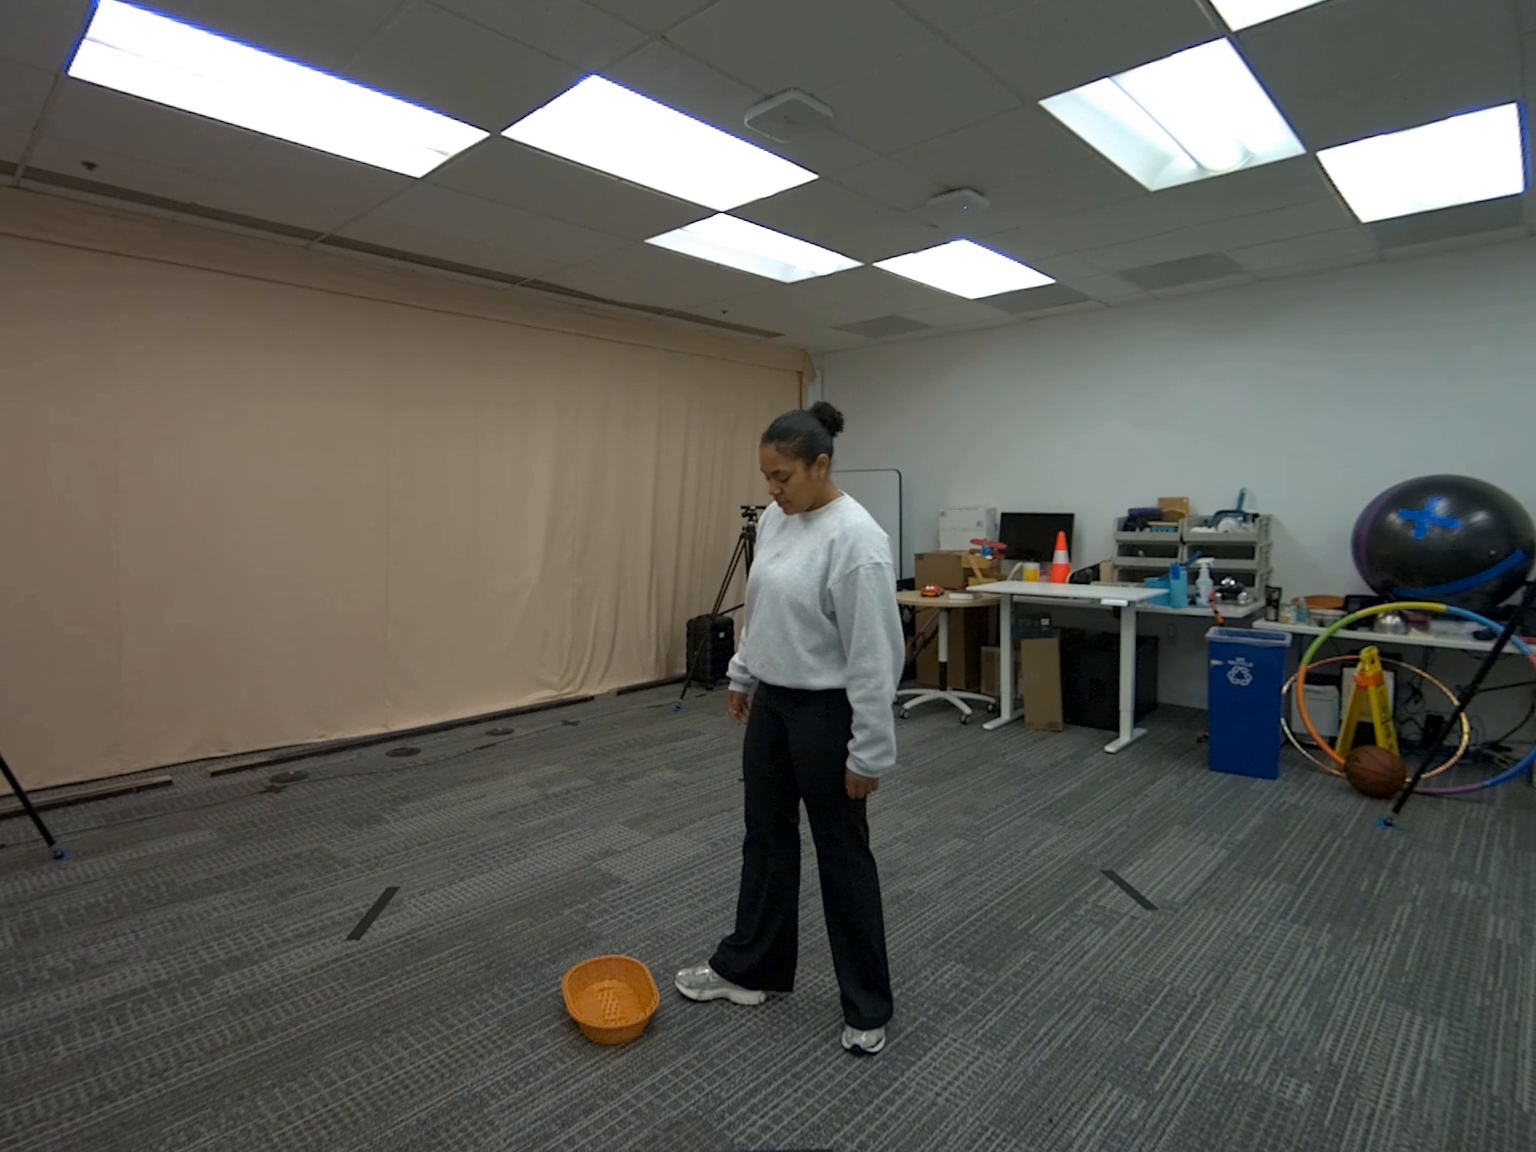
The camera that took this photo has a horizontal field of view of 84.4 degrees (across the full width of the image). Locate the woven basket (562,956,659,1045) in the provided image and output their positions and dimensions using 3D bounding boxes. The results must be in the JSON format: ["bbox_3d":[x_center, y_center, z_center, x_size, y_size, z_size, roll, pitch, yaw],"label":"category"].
[{"bbox_3d":[-0.426,1.164,2.317,0.248,0.073,0.357,-1,5,-18],"label":"woven basket"}]
